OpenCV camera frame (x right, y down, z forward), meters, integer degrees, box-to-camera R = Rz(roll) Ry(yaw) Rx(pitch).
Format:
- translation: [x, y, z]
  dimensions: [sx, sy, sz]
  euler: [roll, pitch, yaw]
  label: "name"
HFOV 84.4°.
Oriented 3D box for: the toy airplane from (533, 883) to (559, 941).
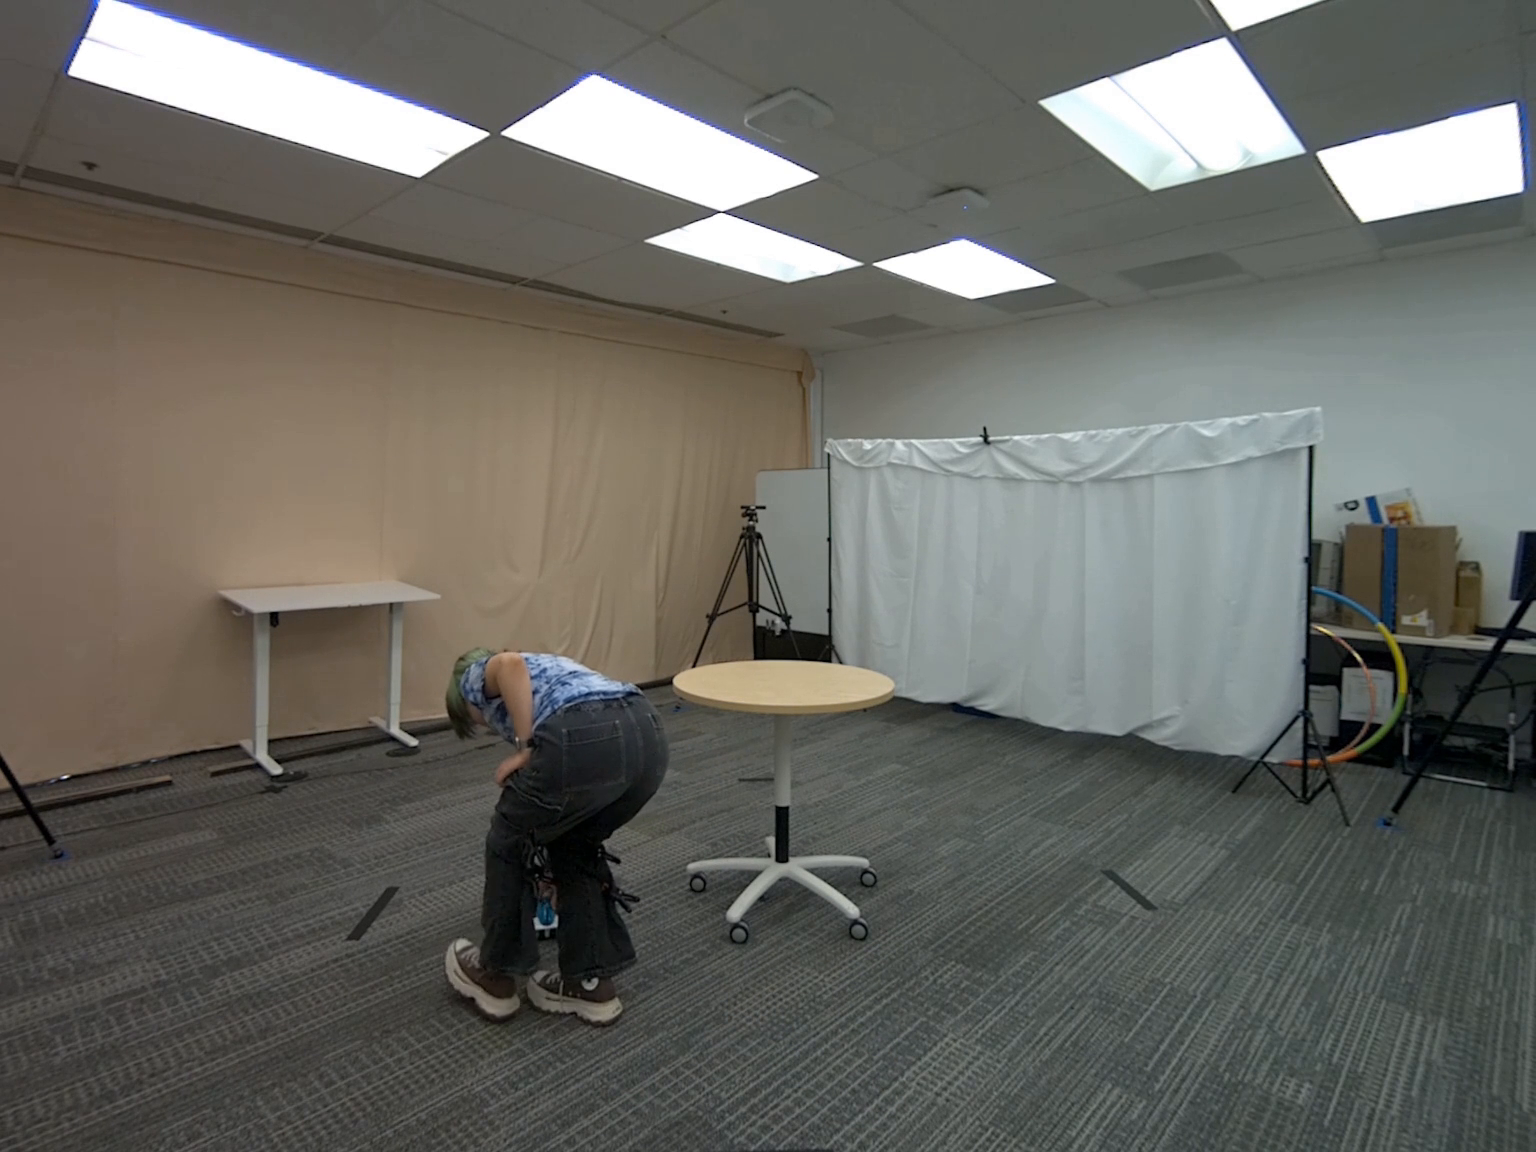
- translation: [-0.733, 1.093, 2.810]
  dimensions: [0.268, 0.156, 0.243]
  euler: [2, 5, 44]
  label: "toy airplane"
